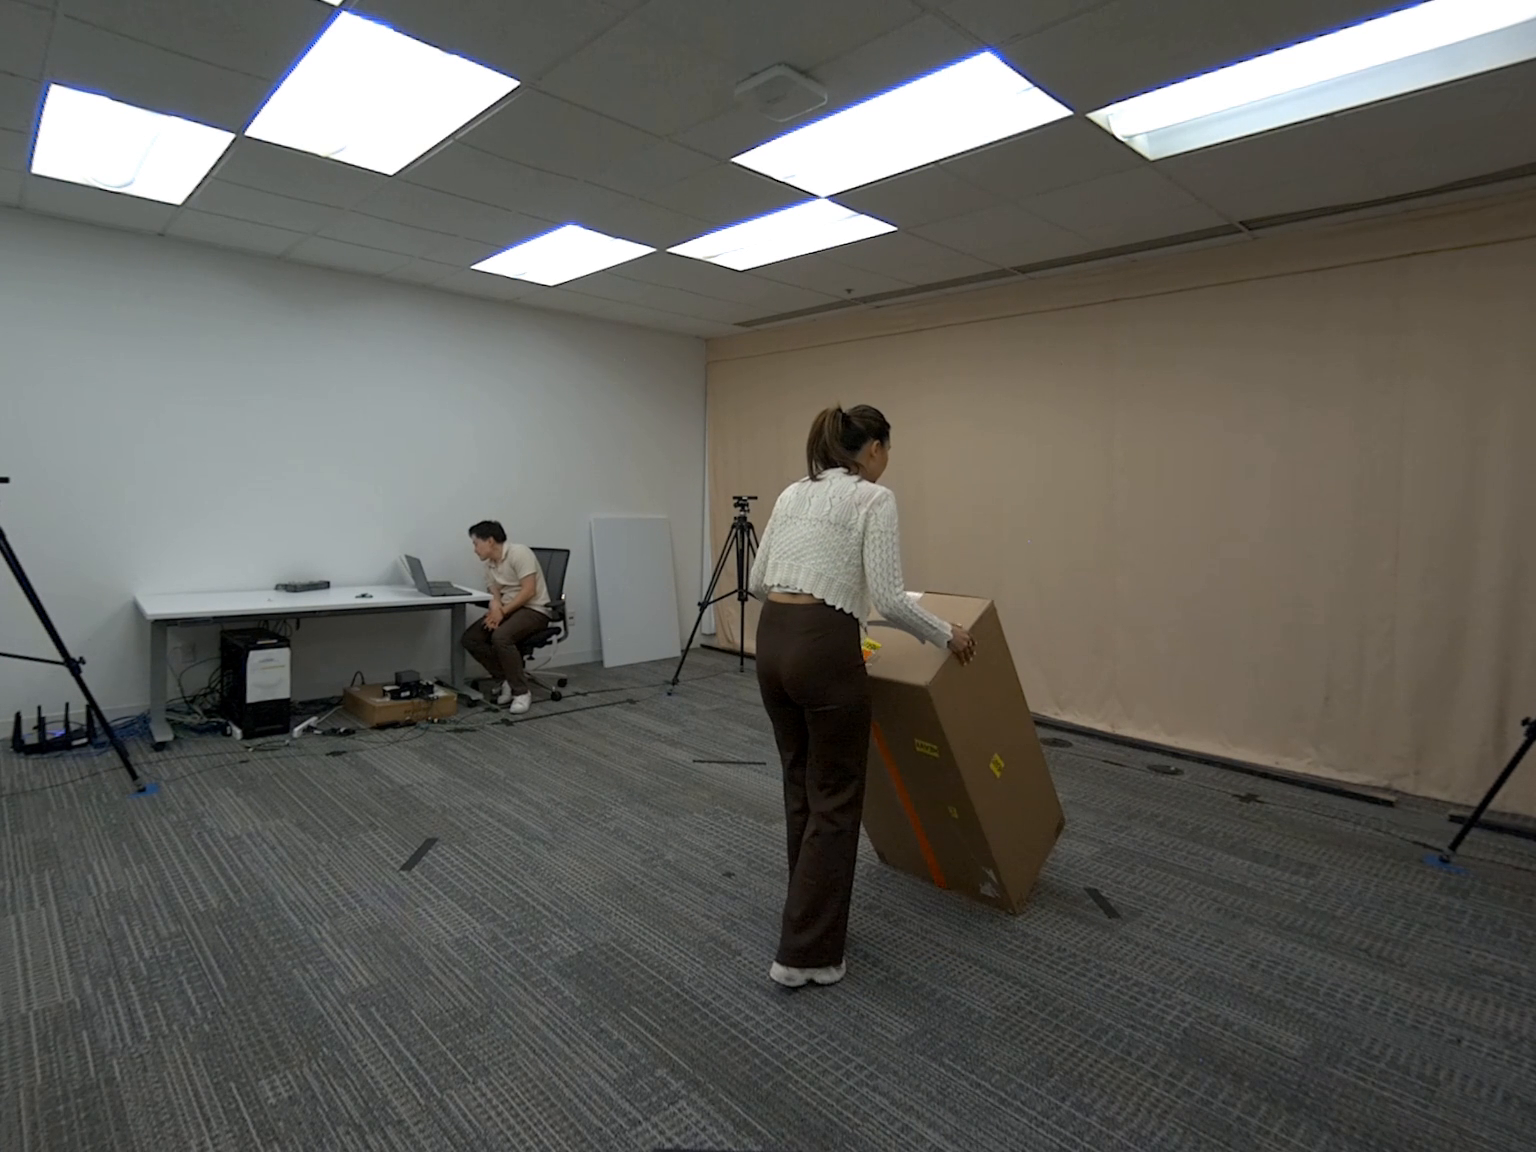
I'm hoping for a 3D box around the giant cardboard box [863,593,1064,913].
[{"bbox_3d":[0.560,0.593,2.947,0.592,1.003,0.425,5,38,47],"label":"giant cardboard box"}]
